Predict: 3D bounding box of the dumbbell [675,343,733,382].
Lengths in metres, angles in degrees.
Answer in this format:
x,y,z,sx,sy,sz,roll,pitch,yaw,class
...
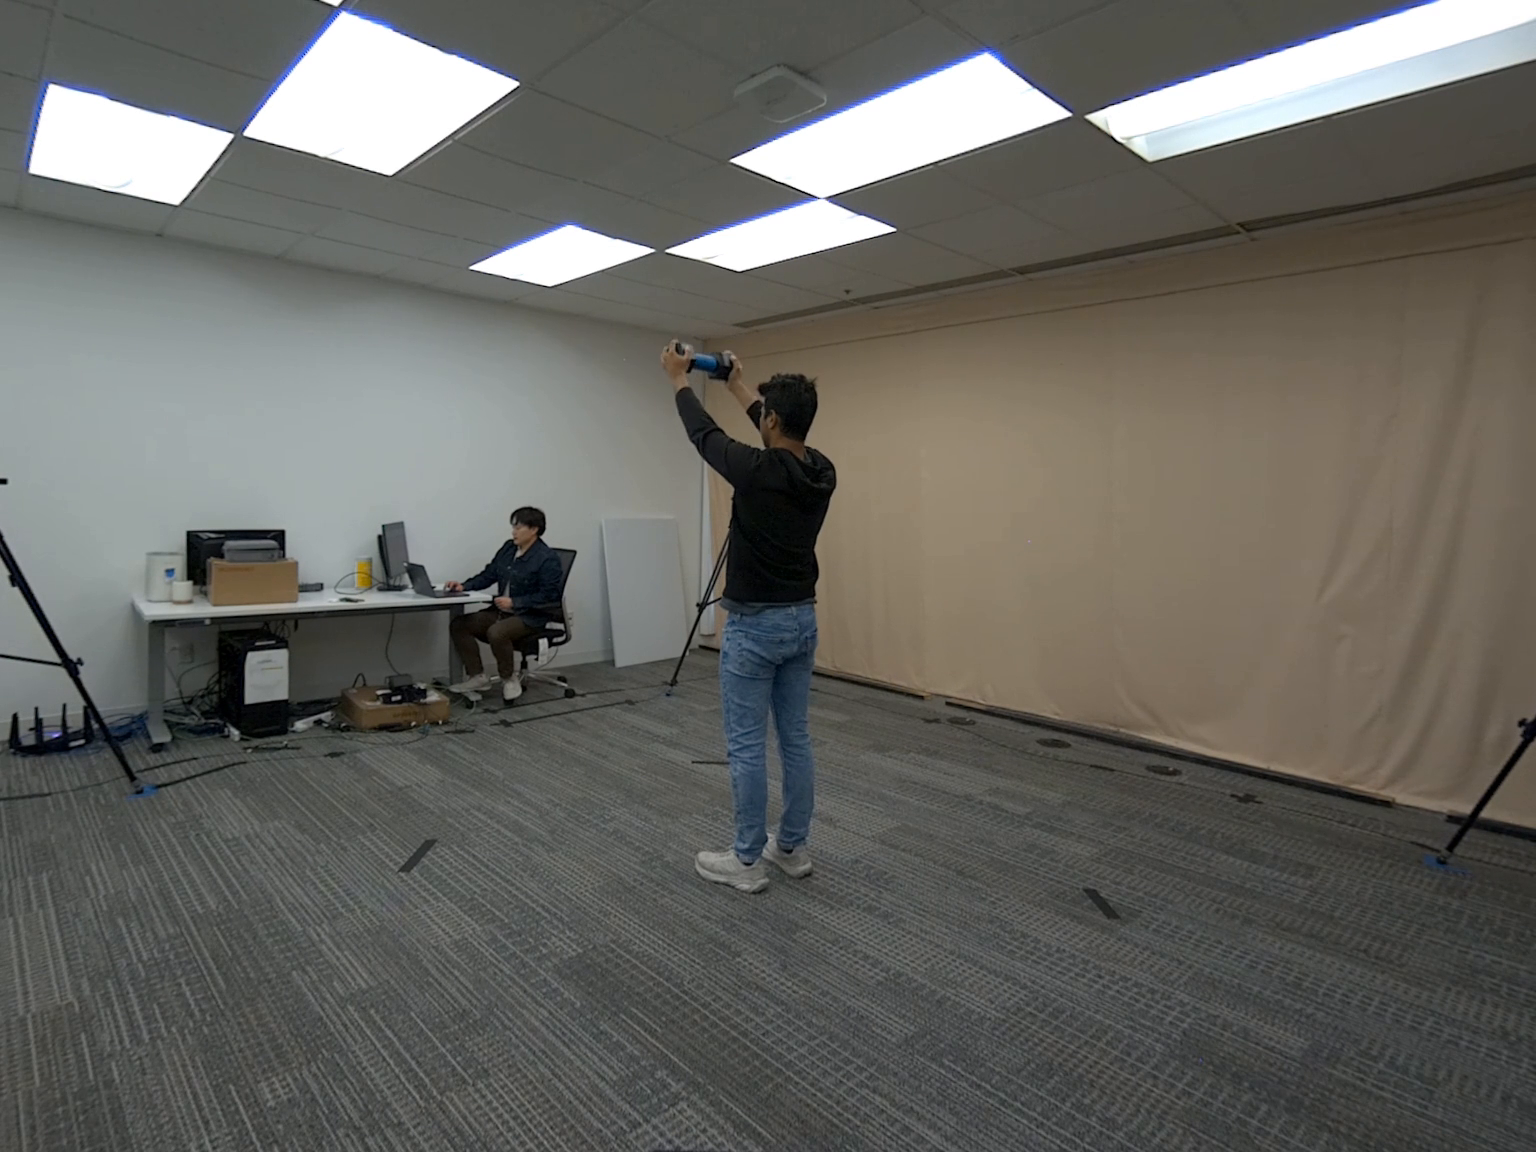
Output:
x,y,z,sx,sy,sz,roll,pitch,yaw,class
-0.269,-0.833,3.298,0.287,0.122,0.112,-1,43,-41,dumbbell
